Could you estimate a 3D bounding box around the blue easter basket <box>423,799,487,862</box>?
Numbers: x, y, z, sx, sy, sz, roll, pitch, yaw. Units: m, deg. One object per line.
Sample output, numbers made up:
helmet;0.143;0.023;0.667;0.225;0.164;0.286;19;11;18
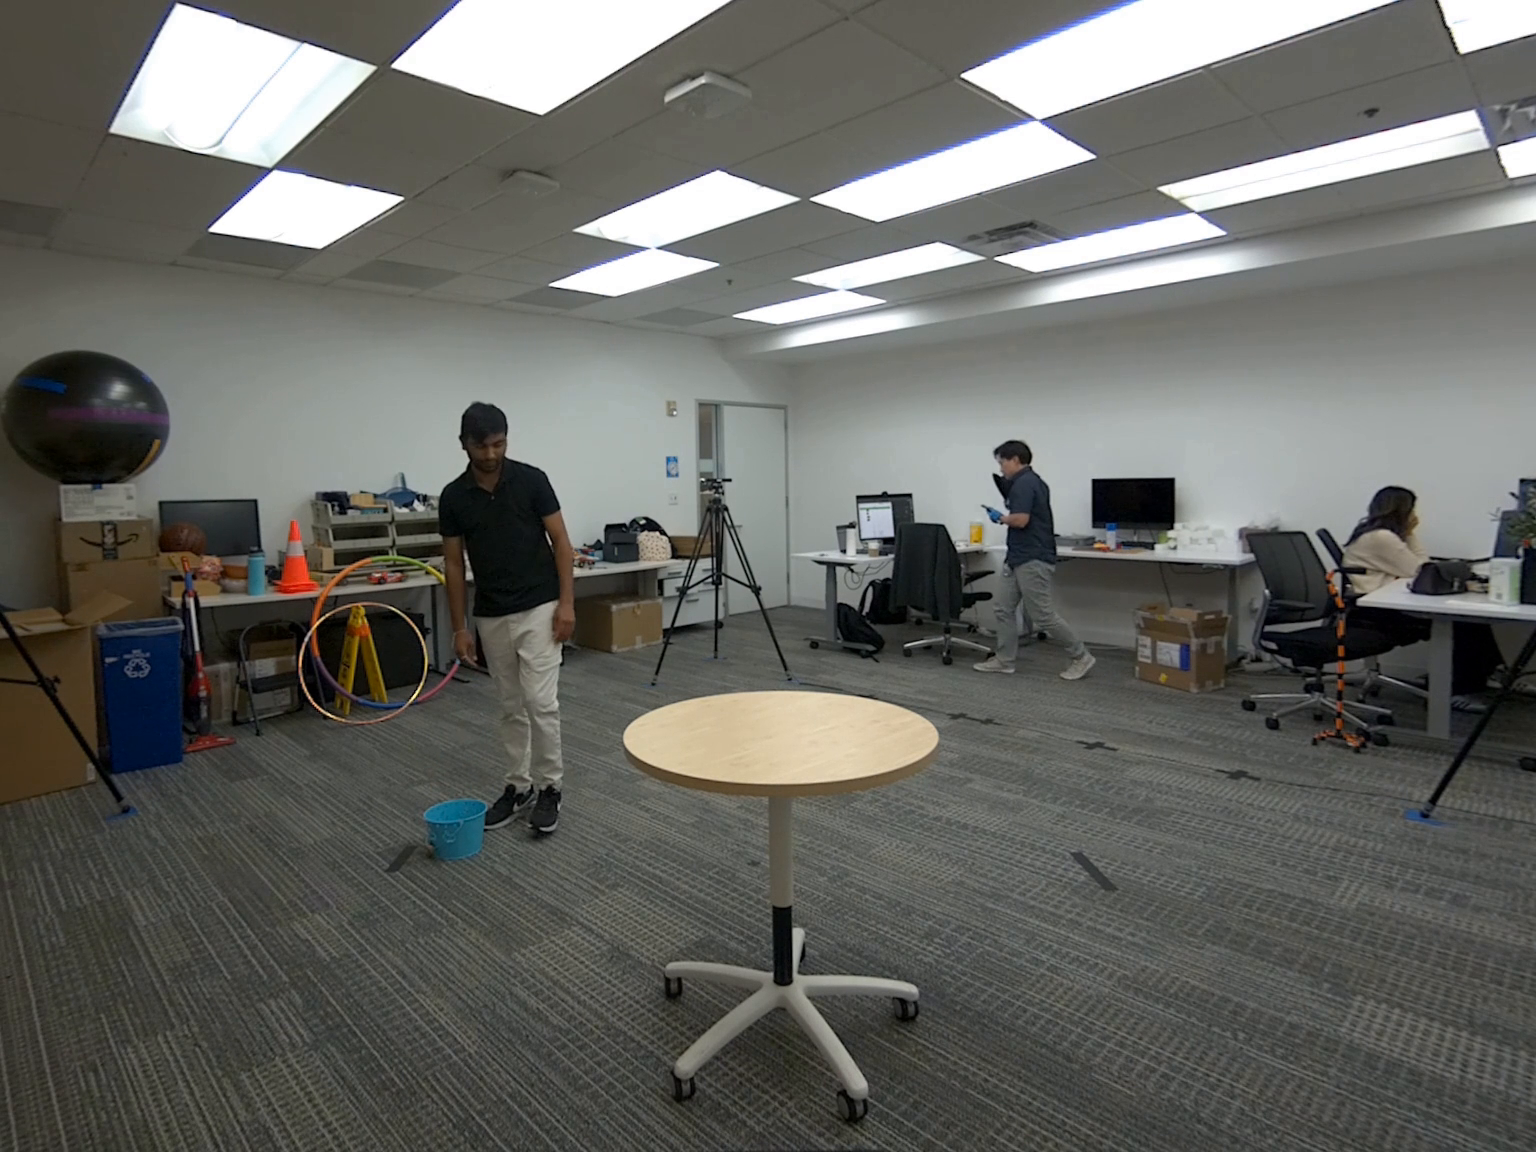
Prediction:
blue easter basket;-1.193;0.971;3.280;0.243;0.155;0.245;-1;6;-2
